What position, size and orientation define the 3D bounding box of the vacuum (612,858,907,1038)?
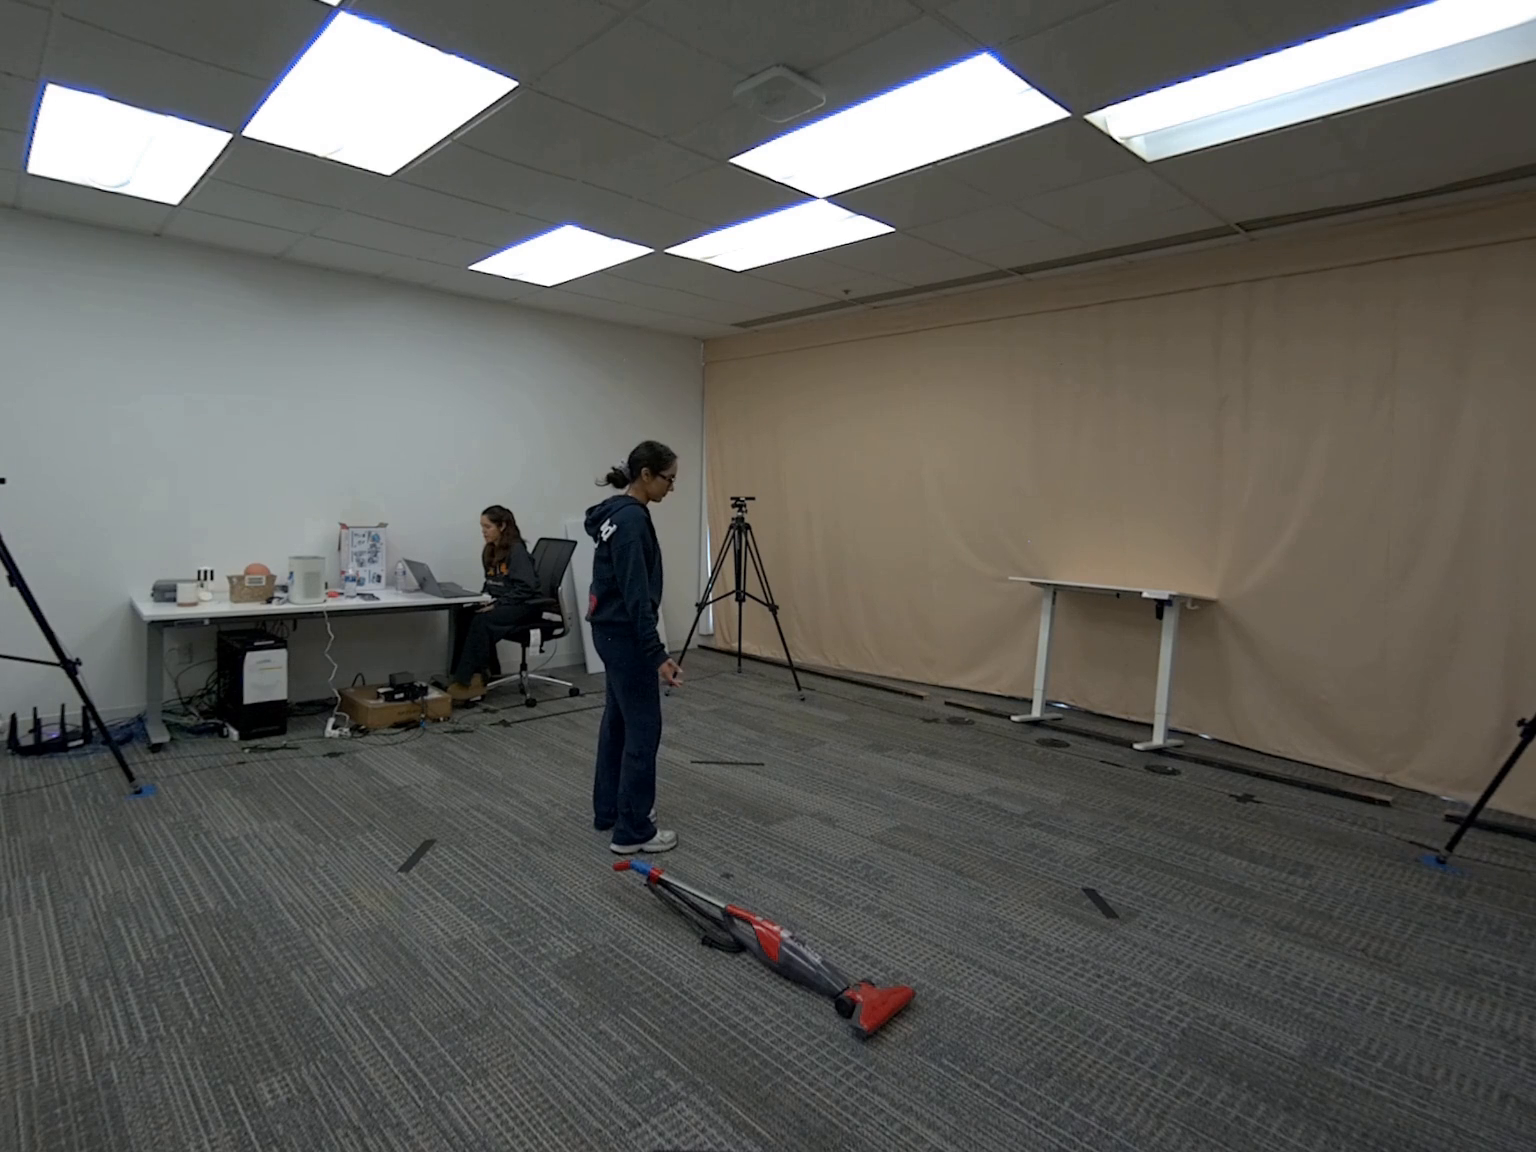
[{"bbox_3d":[-0.124,1.100,2.631,1.077,0.143,0.247,8,10,39],"label":"vacuum"}]
